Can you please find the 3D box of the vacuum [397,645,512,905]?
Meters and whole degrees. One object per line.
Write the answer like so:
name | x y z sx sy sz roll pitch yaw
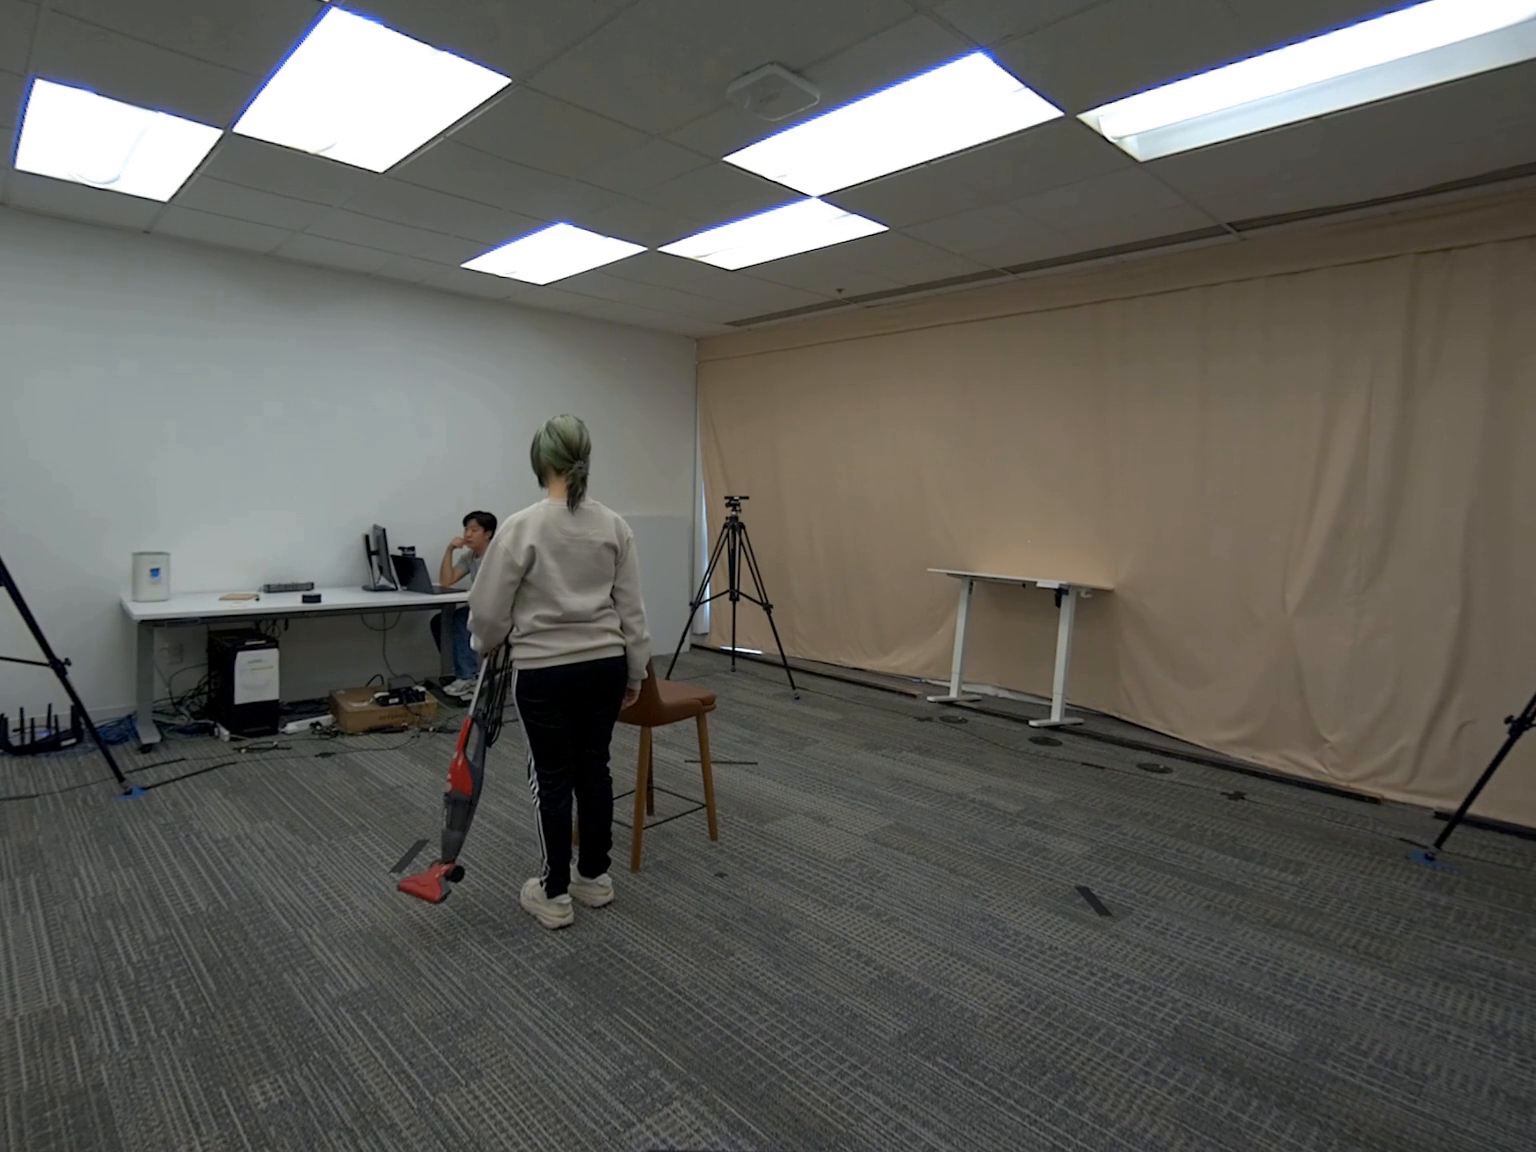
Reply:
vacuum | -0.967 0.488 2.846 0.258 1.060 0.139 -7 -27 42
